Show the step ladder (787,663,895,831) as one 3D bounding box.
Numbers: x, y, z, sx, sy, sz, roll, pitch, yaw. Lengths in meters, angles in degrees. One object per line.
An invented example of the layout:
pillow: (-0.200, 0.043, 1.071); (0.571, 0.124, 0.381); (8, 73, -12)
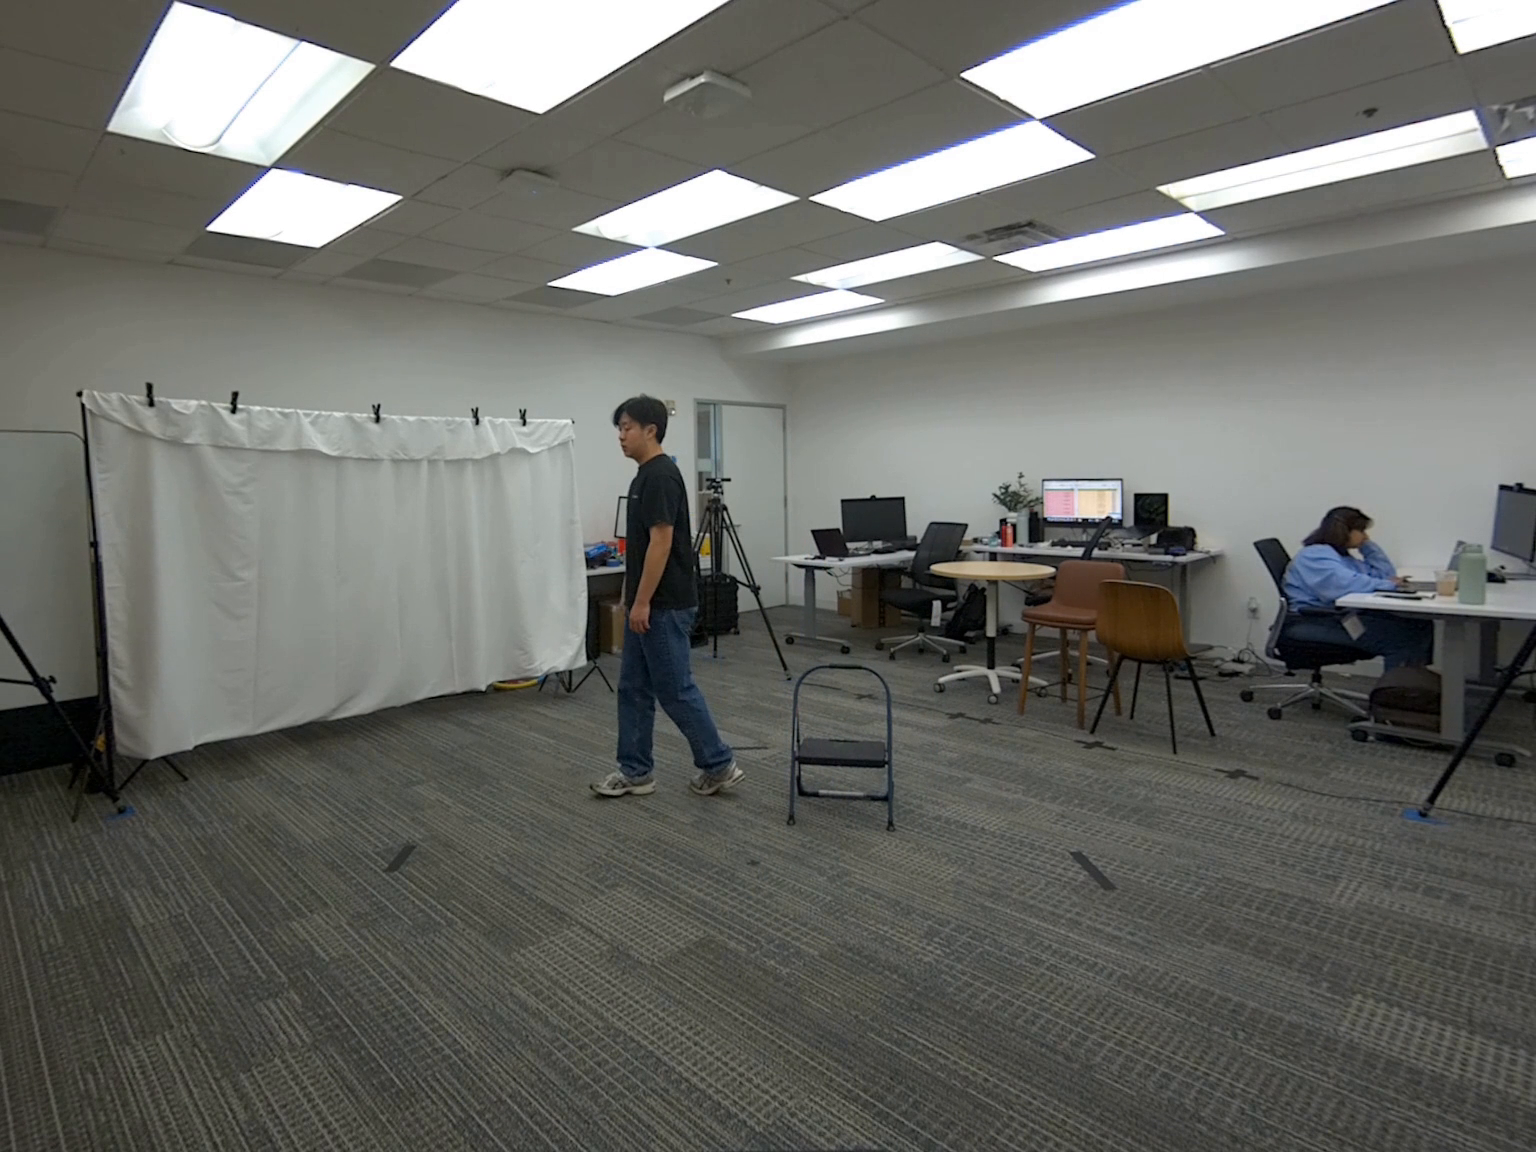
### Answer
step ladder: (0.311, 0.684, 3.554); (0.435, 0.604, 0.347); (0, 4, 9)
